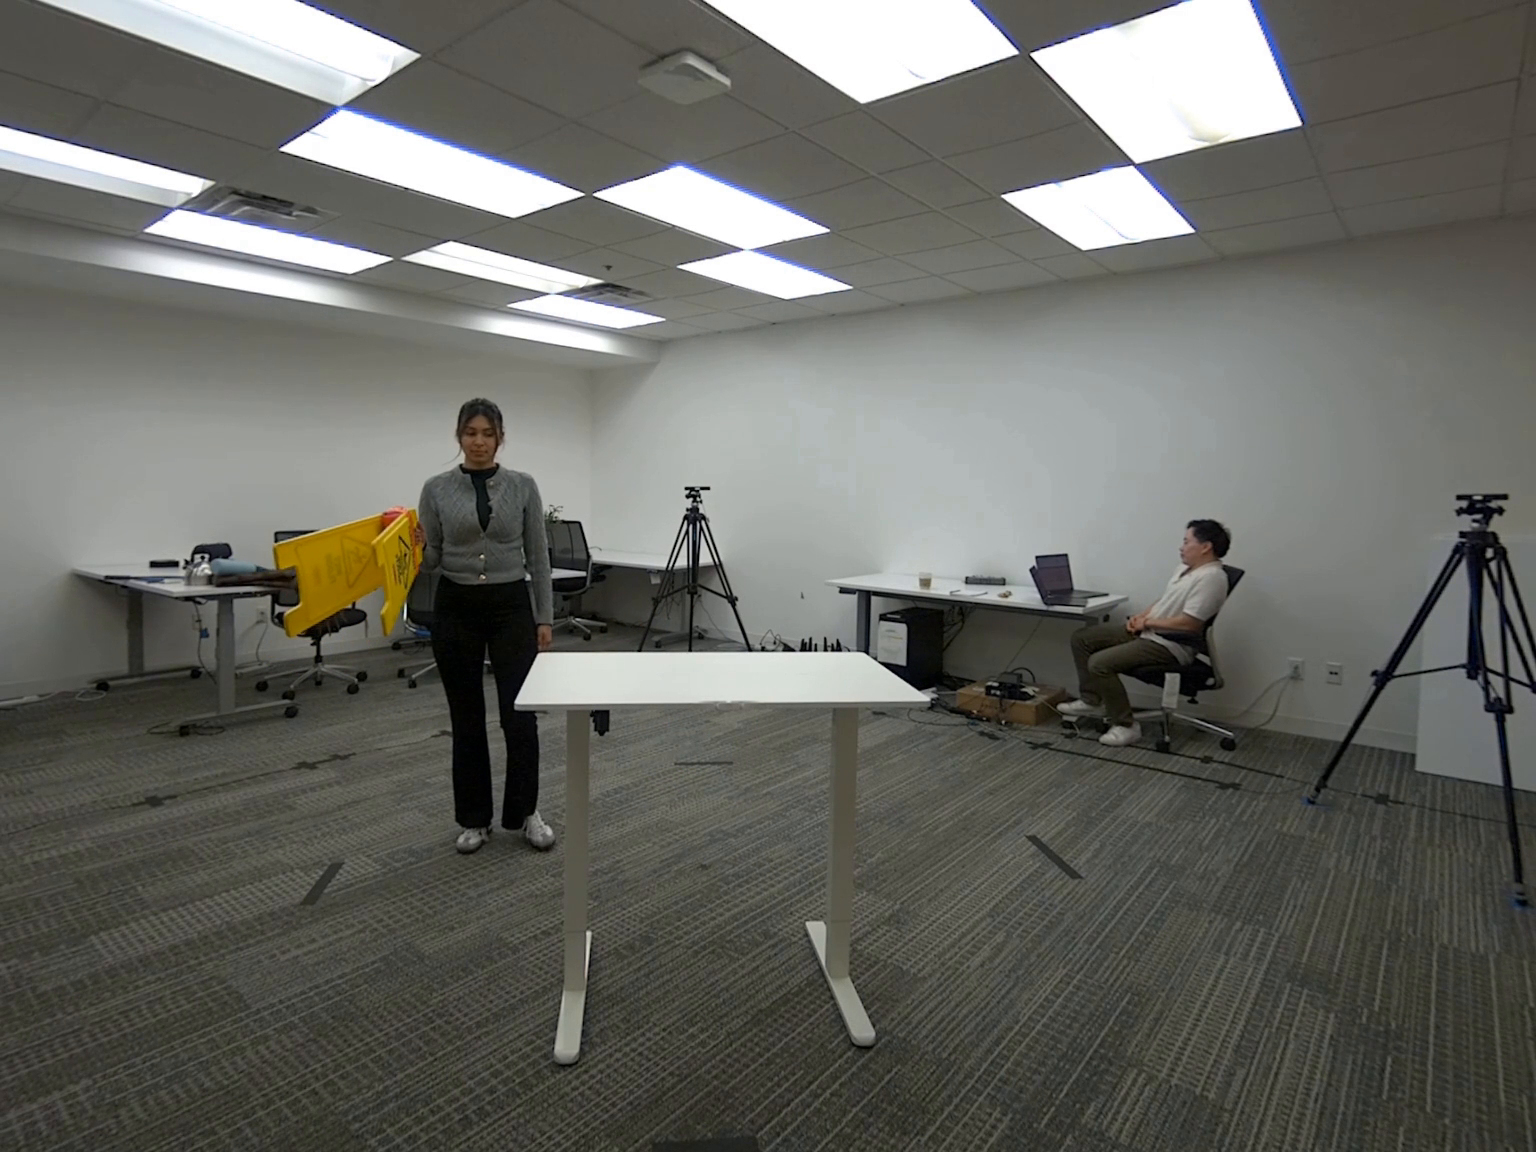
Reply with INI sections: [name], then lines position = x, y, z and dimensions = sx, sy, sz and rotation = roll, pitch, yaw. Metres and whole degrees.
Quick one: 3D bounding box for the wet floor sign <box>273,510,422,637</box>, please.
[wet floor sign]
position = -1.254, -0.051, 2.704
dimensions = 0.290, 0.278, 0.655
rotation = -2, 17, 1
